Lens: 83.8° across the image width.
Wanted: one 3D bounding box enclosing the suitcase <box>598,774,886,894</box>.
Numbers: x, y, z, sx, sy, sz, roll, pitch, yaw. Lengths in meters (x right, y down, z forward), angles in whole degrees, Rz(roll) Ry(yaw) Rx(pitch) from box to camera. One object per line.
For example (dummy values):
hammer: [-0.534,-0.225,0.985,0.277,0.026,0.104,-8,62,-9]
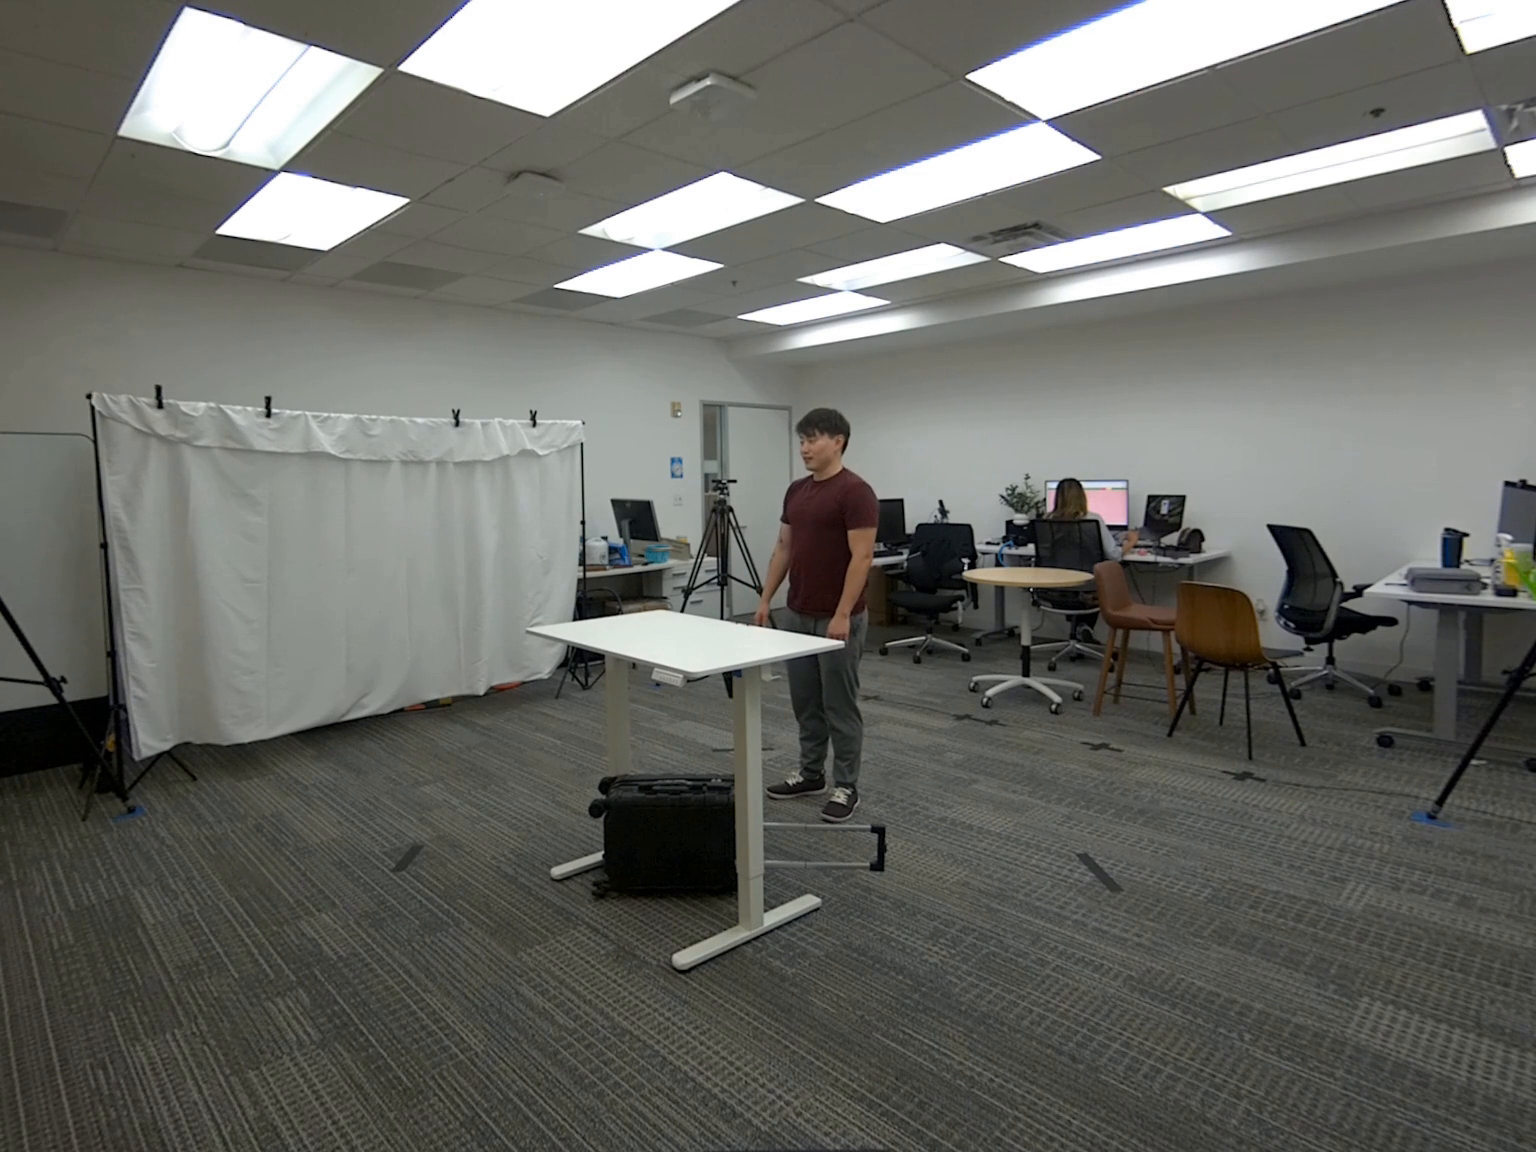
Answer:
suitcase: [-0.109,0.877,2.953,0.977,0.382,0.259,0,6,-1]
